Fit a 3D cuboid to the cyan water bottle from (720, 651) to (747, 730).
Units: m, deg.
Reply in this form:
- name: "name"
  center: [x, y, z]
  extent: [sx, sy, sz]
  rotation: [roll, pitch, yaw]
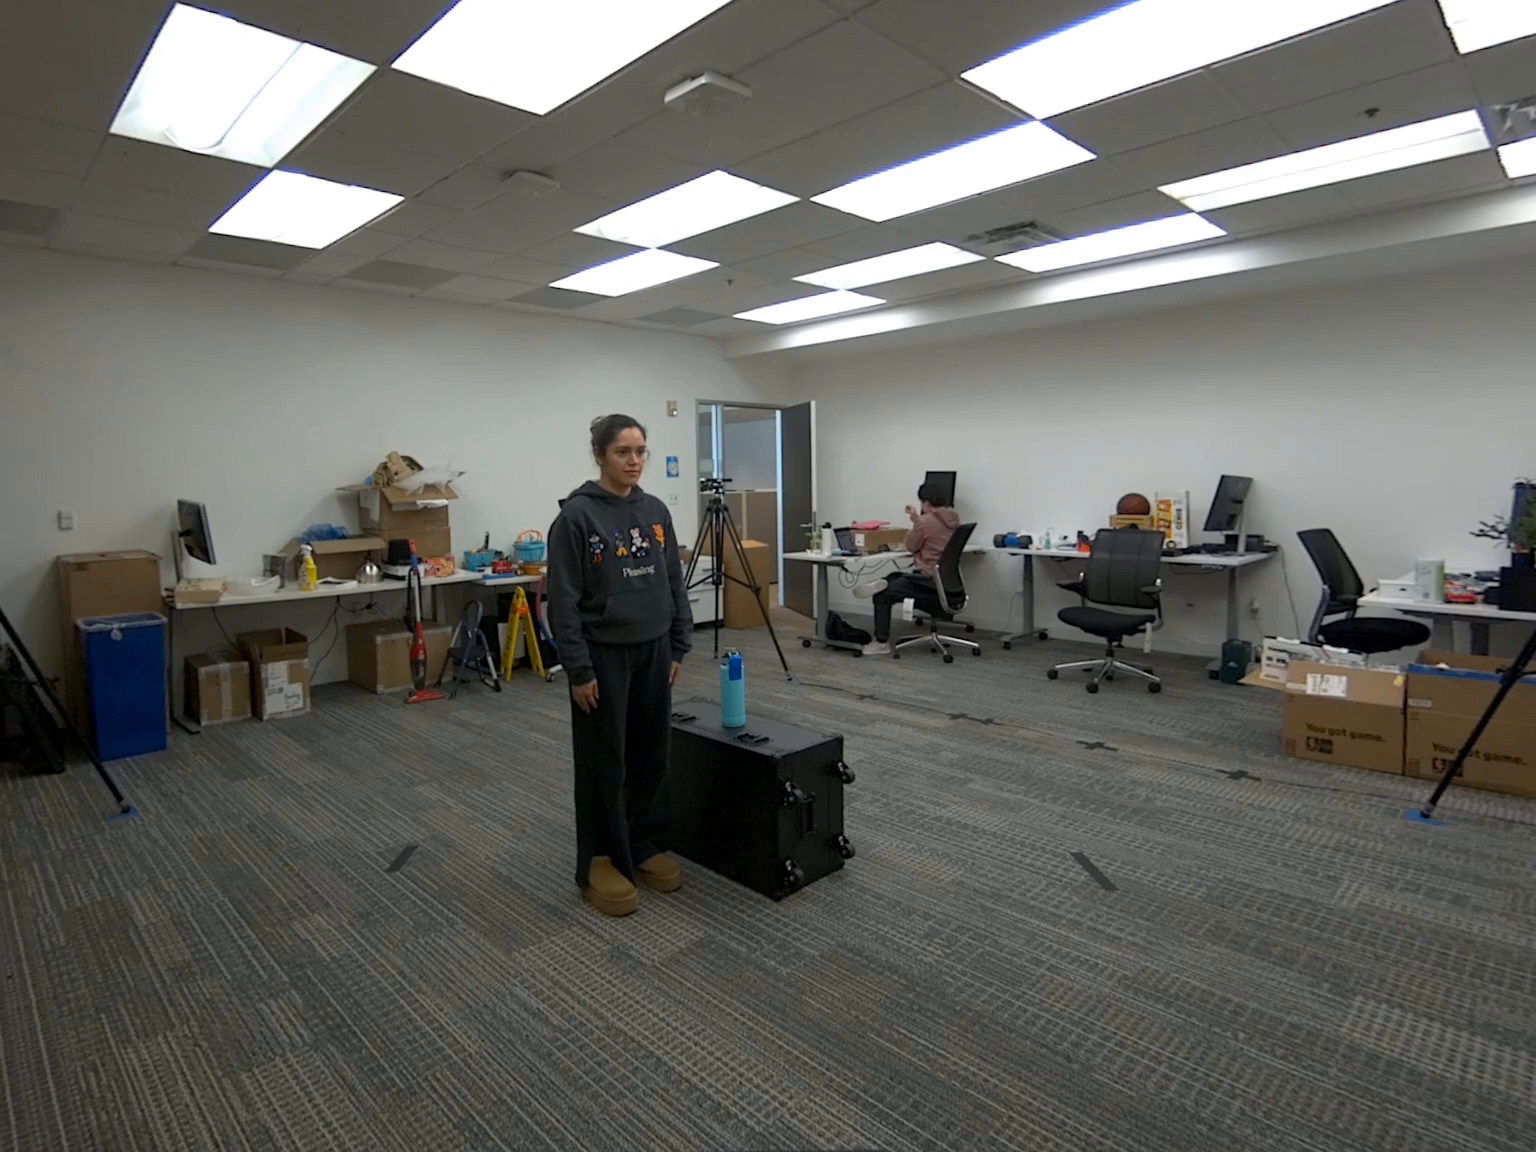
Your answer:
- name: "cyan water bottle"
  center: [-0.129, 0.413, 3.180]
  extent: [0.092, 0.282, 0.093]
  rotation: [-1, 5, -2]
